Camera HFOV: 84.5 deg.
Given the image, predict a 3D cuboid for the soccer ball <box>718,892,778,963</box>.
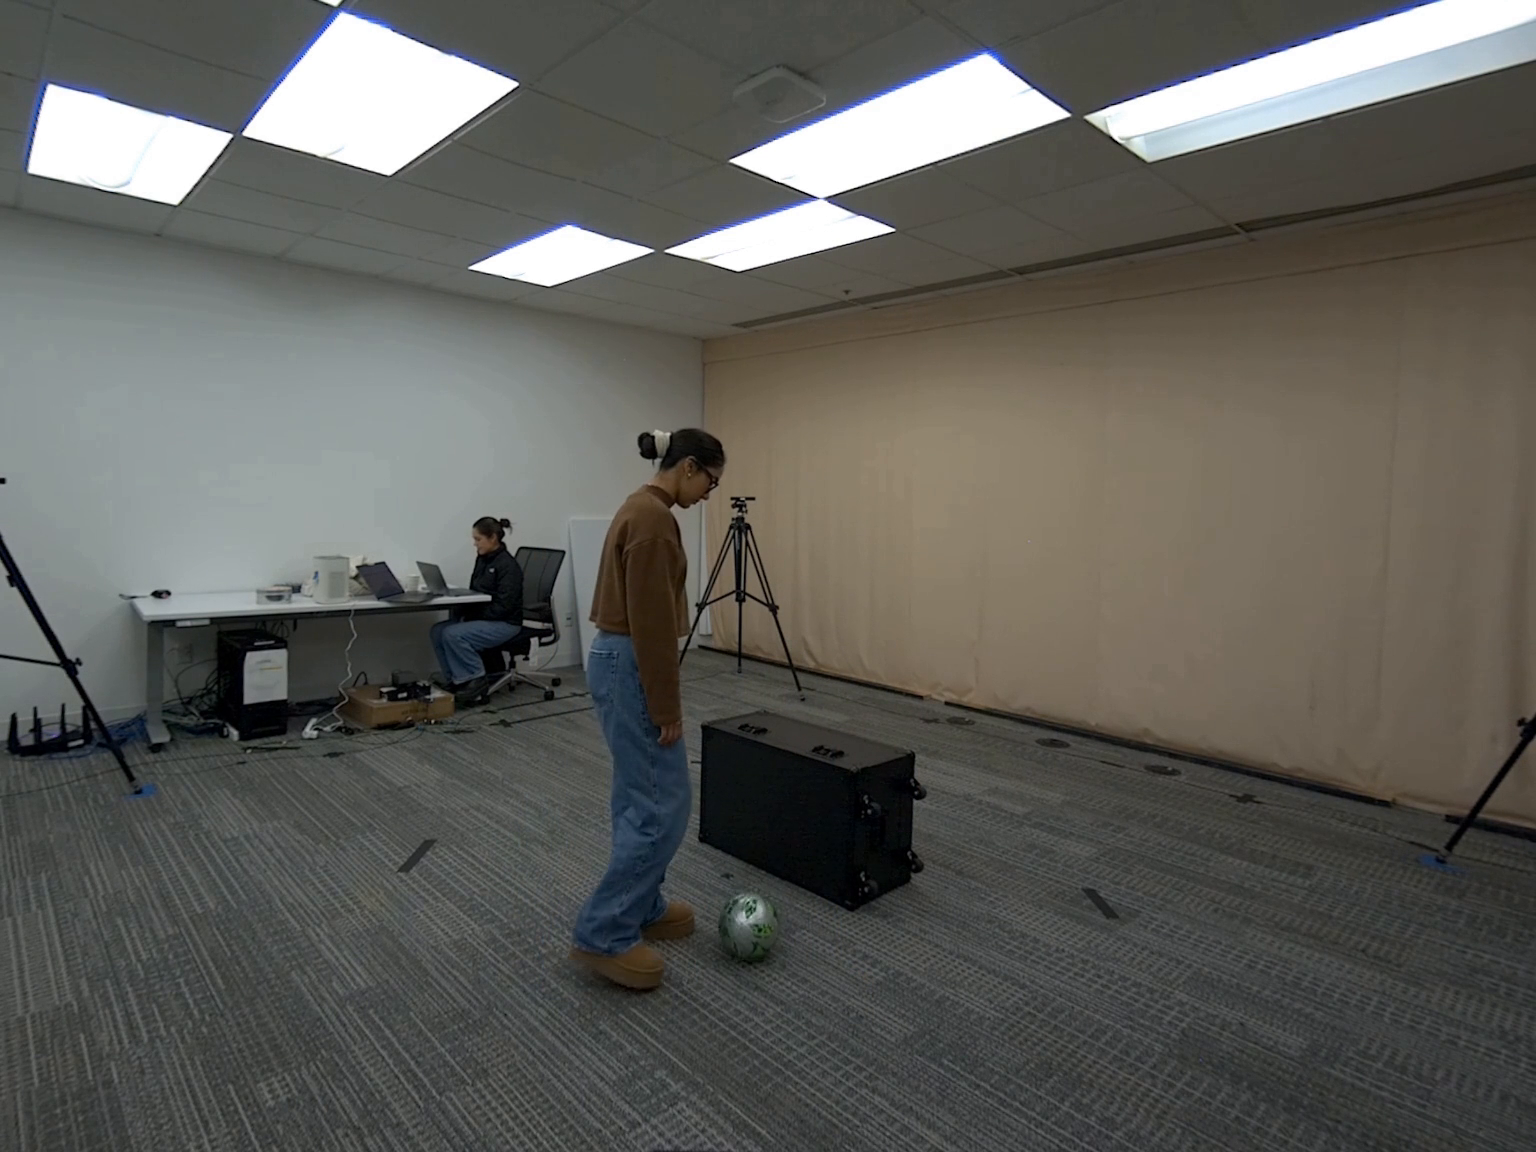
[{"bbox_3d":[-0.074,1.067,2.555,0.187,0.187,0.188,1,4,-1],"label":"soccer ball"}]
